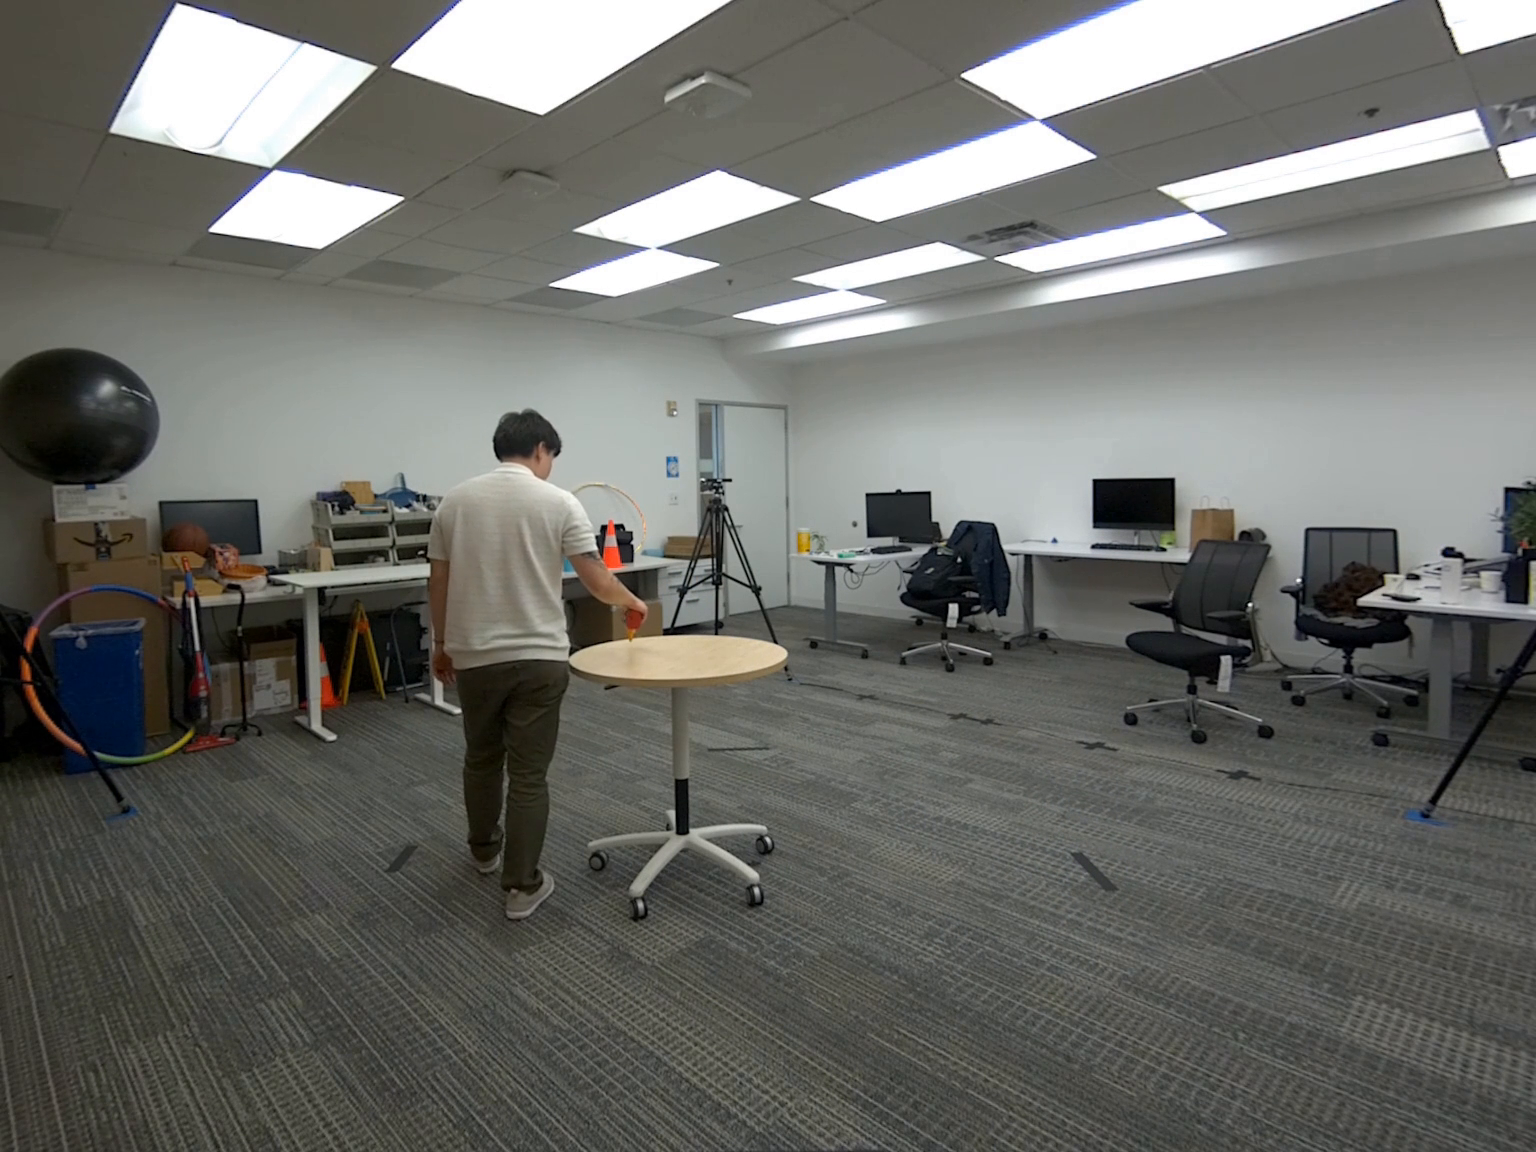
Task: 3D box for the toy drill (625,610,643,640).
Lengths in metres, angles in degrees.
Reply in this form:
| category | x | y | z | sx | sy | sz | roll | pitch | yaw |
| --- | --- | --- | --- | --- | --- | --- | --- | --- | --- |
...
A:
| category | x | y | z | sx | sy | sz | roll | pitch | yaw |
| --- | --- | --- | --- | --- | --- | --- | --- | --- | --- |
| toy drill | -0.485 | 0.168 | 3.084 | 0.060 | 0.168 | 0.149 | 7 | 12 | -11 |
